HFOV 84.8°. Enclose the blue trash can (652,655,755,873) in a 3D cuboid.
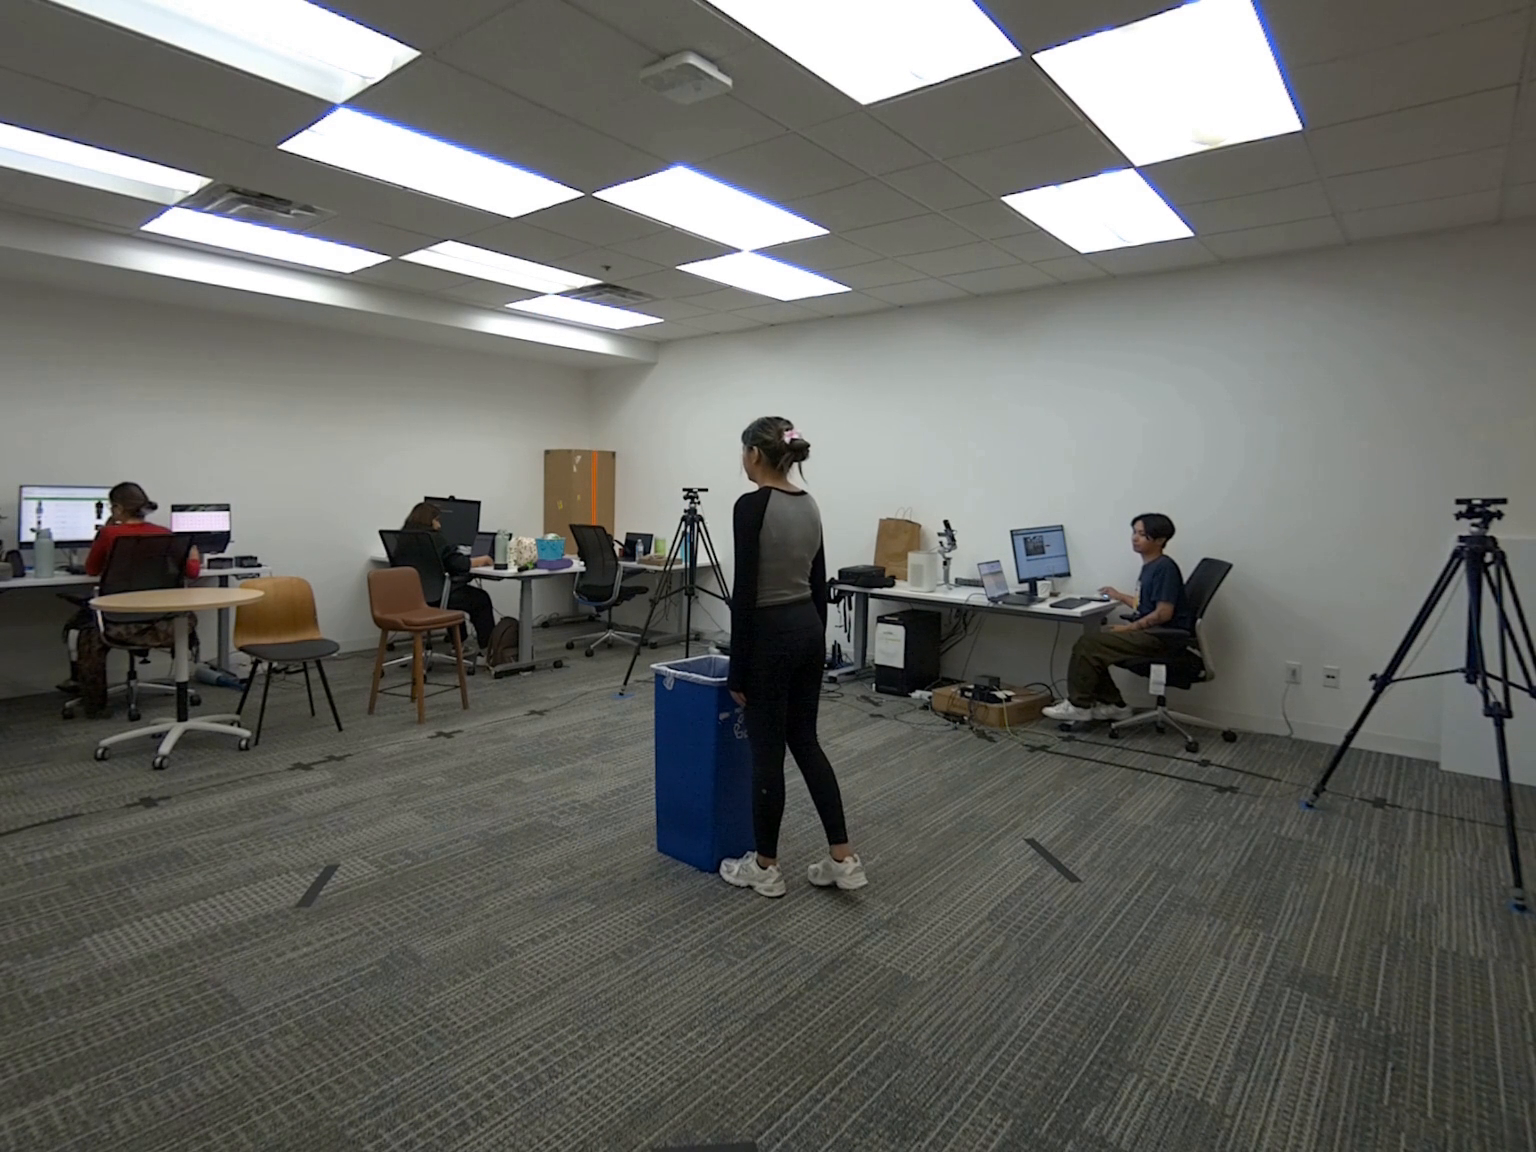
[{"bbox_3d":[-0.225,0.696,3.269,0.391,0.711,0.363,4,4,40],"label":"blue trash can"}]
